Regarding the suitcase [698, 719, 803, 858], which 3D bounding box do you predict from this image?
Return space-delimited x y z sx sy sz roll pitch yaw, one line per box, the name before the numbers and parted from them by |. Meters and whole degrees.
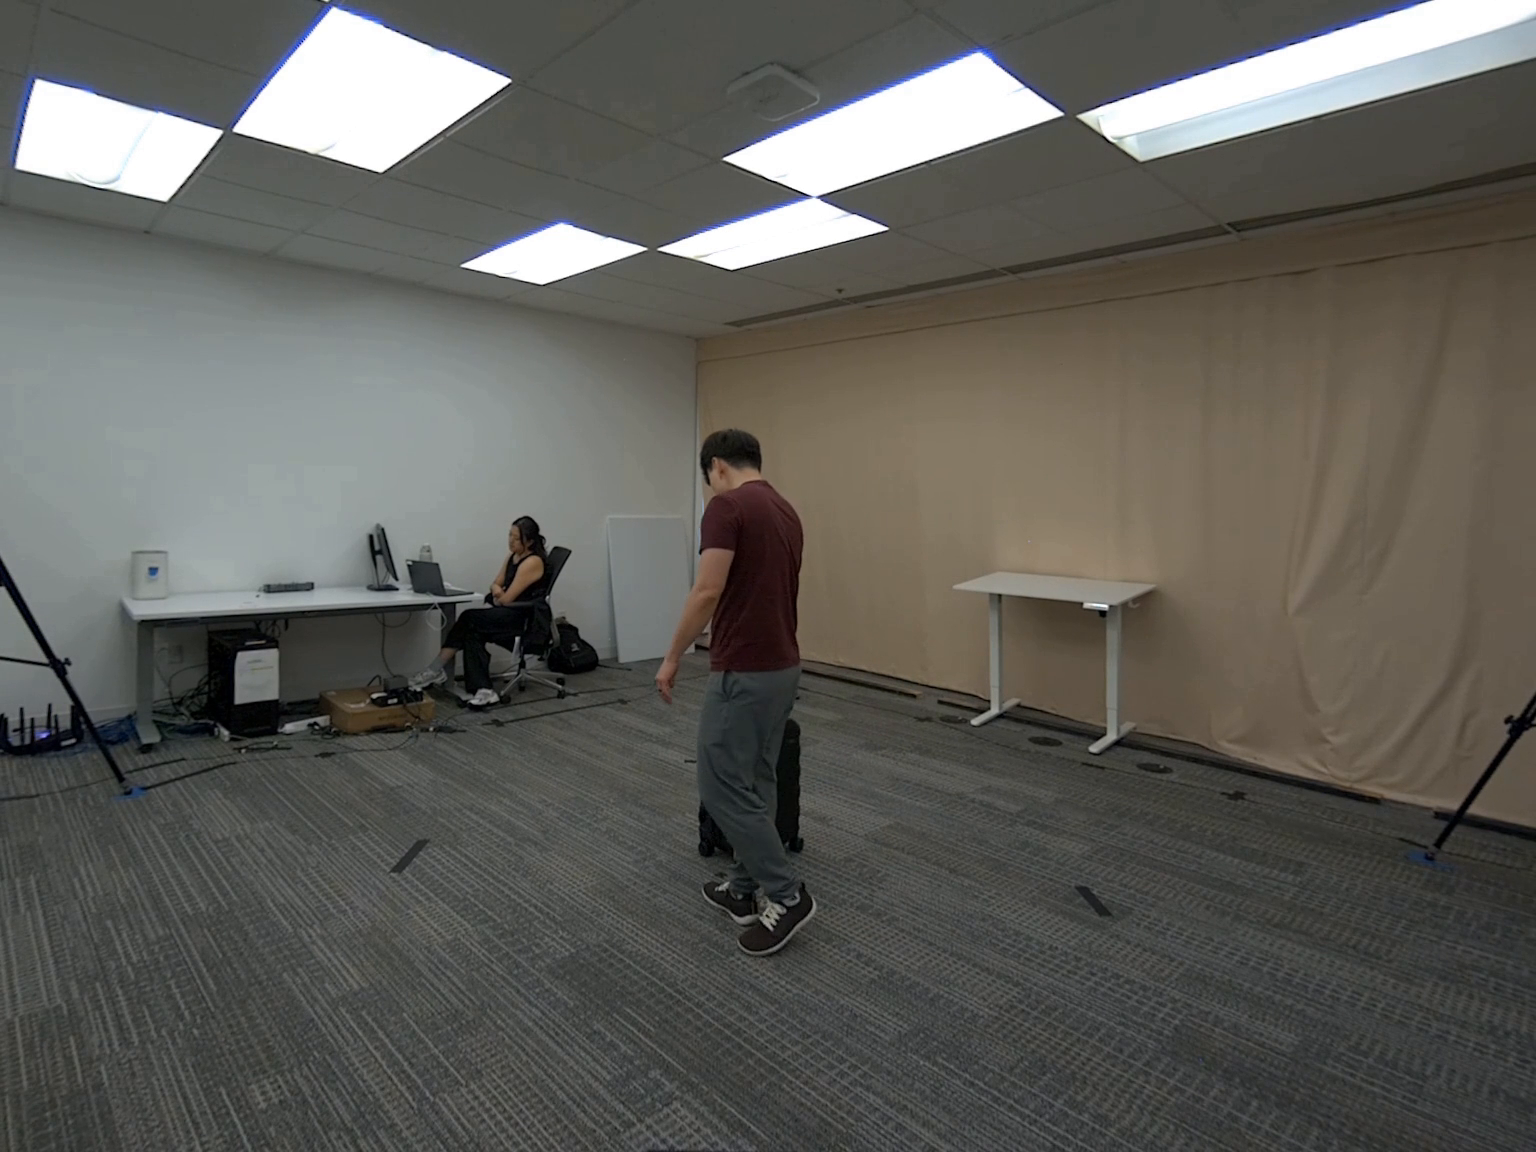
suitcase | -0.060 0.615 3.285 0.375 0.976 0.264 0 4 -44
